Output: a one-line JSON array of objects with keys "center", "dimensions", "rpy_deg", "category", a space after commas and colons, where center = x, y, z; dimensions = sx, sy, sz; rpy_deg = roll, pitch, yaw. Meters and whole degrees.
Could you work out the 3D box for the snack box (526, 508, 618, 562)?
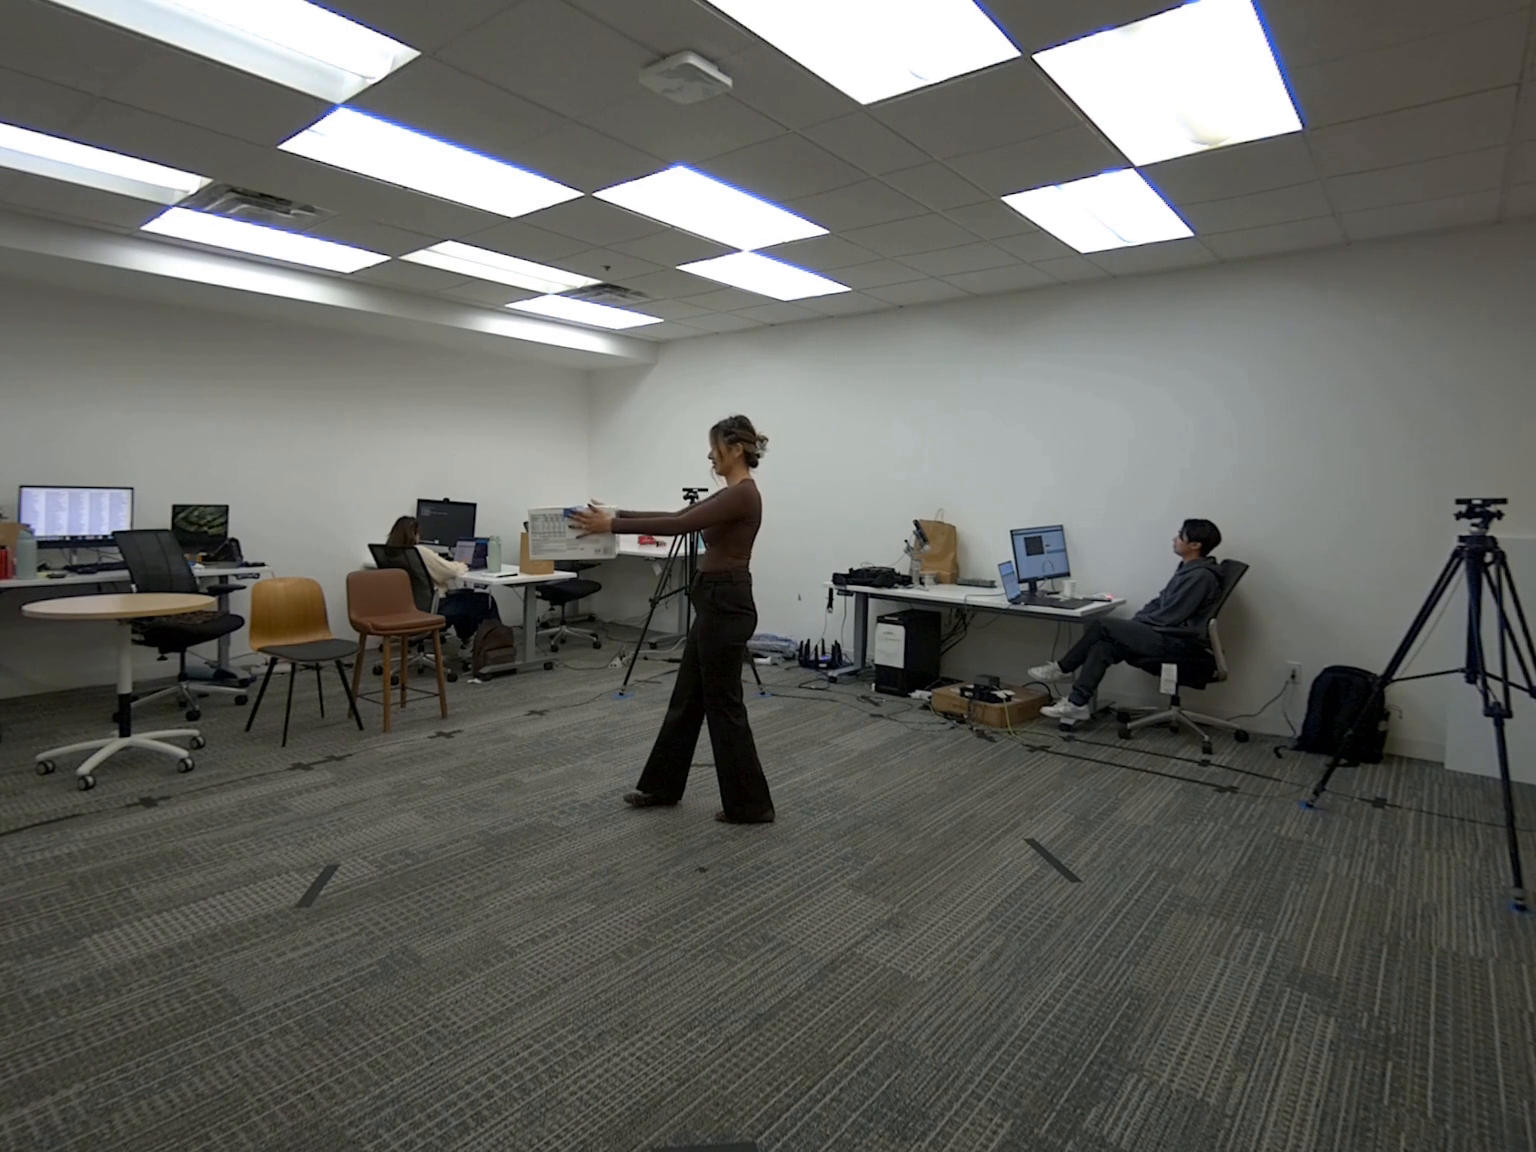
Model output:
[{"center": [-0.819, -0.195, 3.537], "dimensions": [0.338, 0.205, 0.410], "rpy_deg": [-2, 6, -7], "category": "snack box"}]
